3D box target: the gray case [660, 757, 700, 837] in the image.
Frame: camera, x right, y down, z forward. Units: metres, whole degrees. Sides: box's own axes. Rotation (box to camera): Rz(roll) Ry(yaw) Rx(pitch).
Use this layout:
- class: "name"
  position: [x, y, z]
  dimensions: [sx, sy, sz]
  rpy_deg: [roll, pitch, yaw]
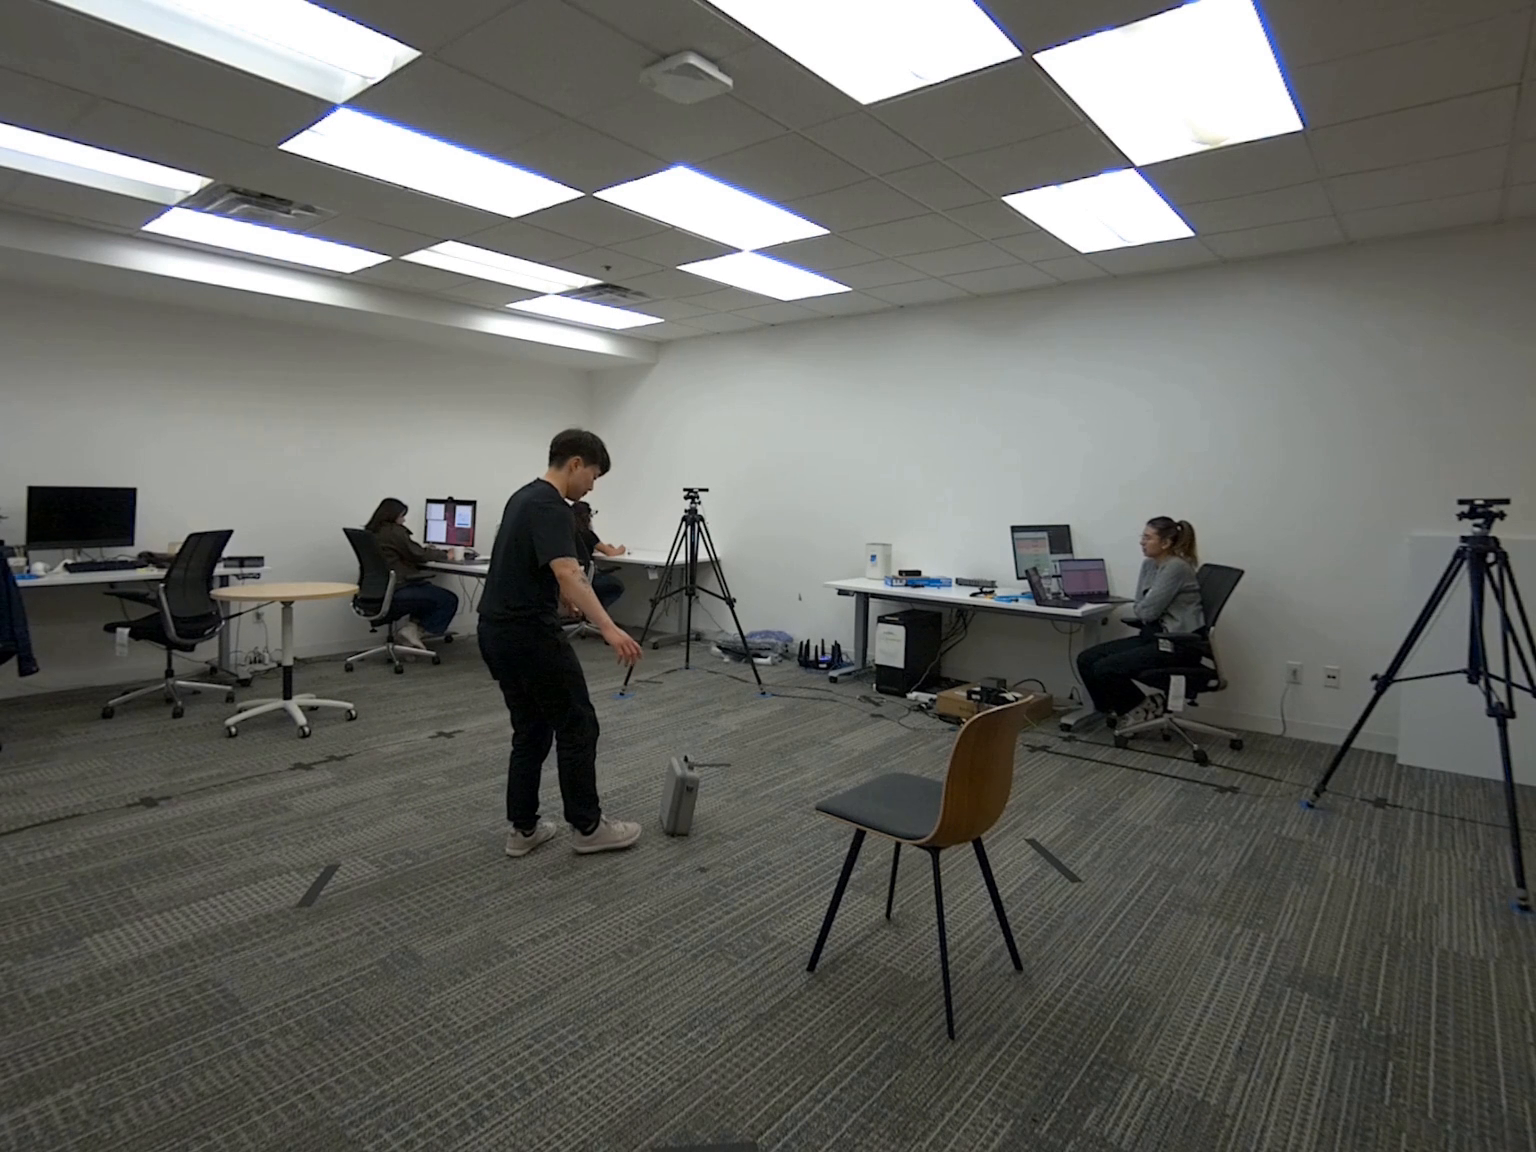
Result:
- class: "gray case"
  position: [-0.375, 0.894, 3.511]
  dimensions: [0.103, 0.260, 0.261]
  rpy_deg: [10, 3, -14]
